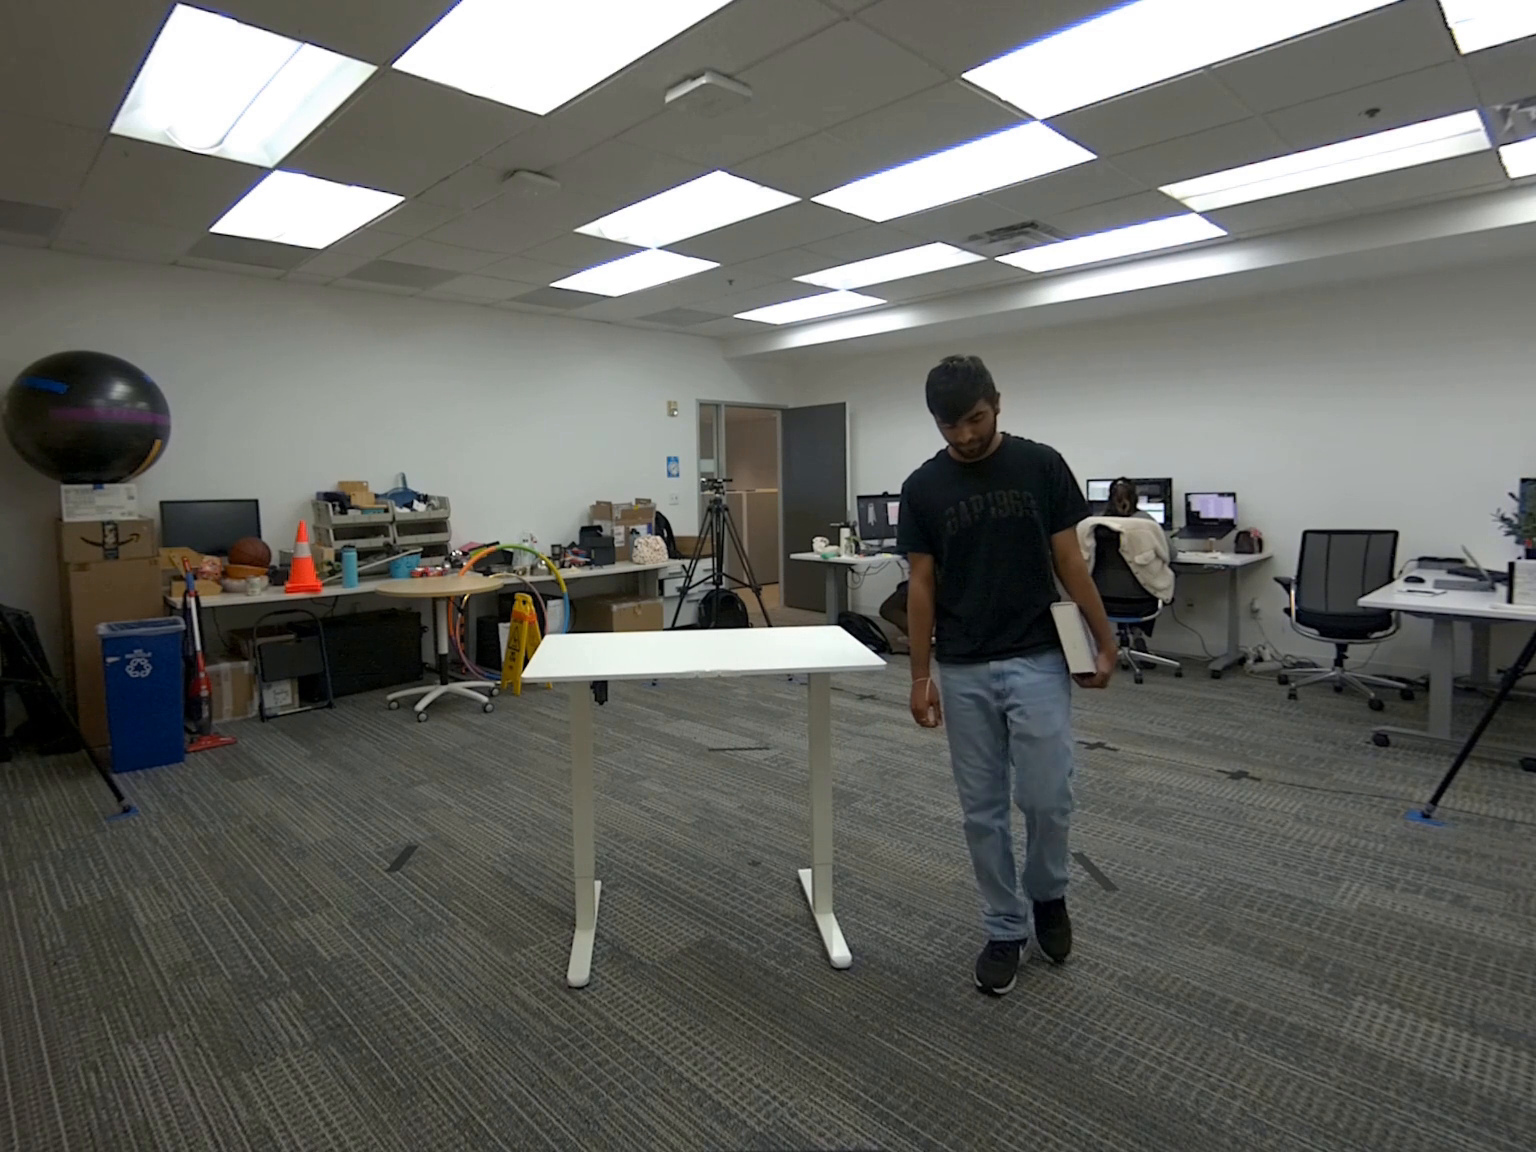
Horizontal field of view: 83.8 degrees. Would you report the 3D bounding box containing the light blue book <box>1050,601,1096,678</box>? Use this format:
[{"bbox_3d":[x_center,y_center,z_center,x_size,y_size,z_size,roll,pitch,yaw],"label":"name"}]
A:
[{"bbox_3d":[0.831,0.169,2.345,0.060,0.194,0.254,-17,-10,21],"label":"light blue book"}]
